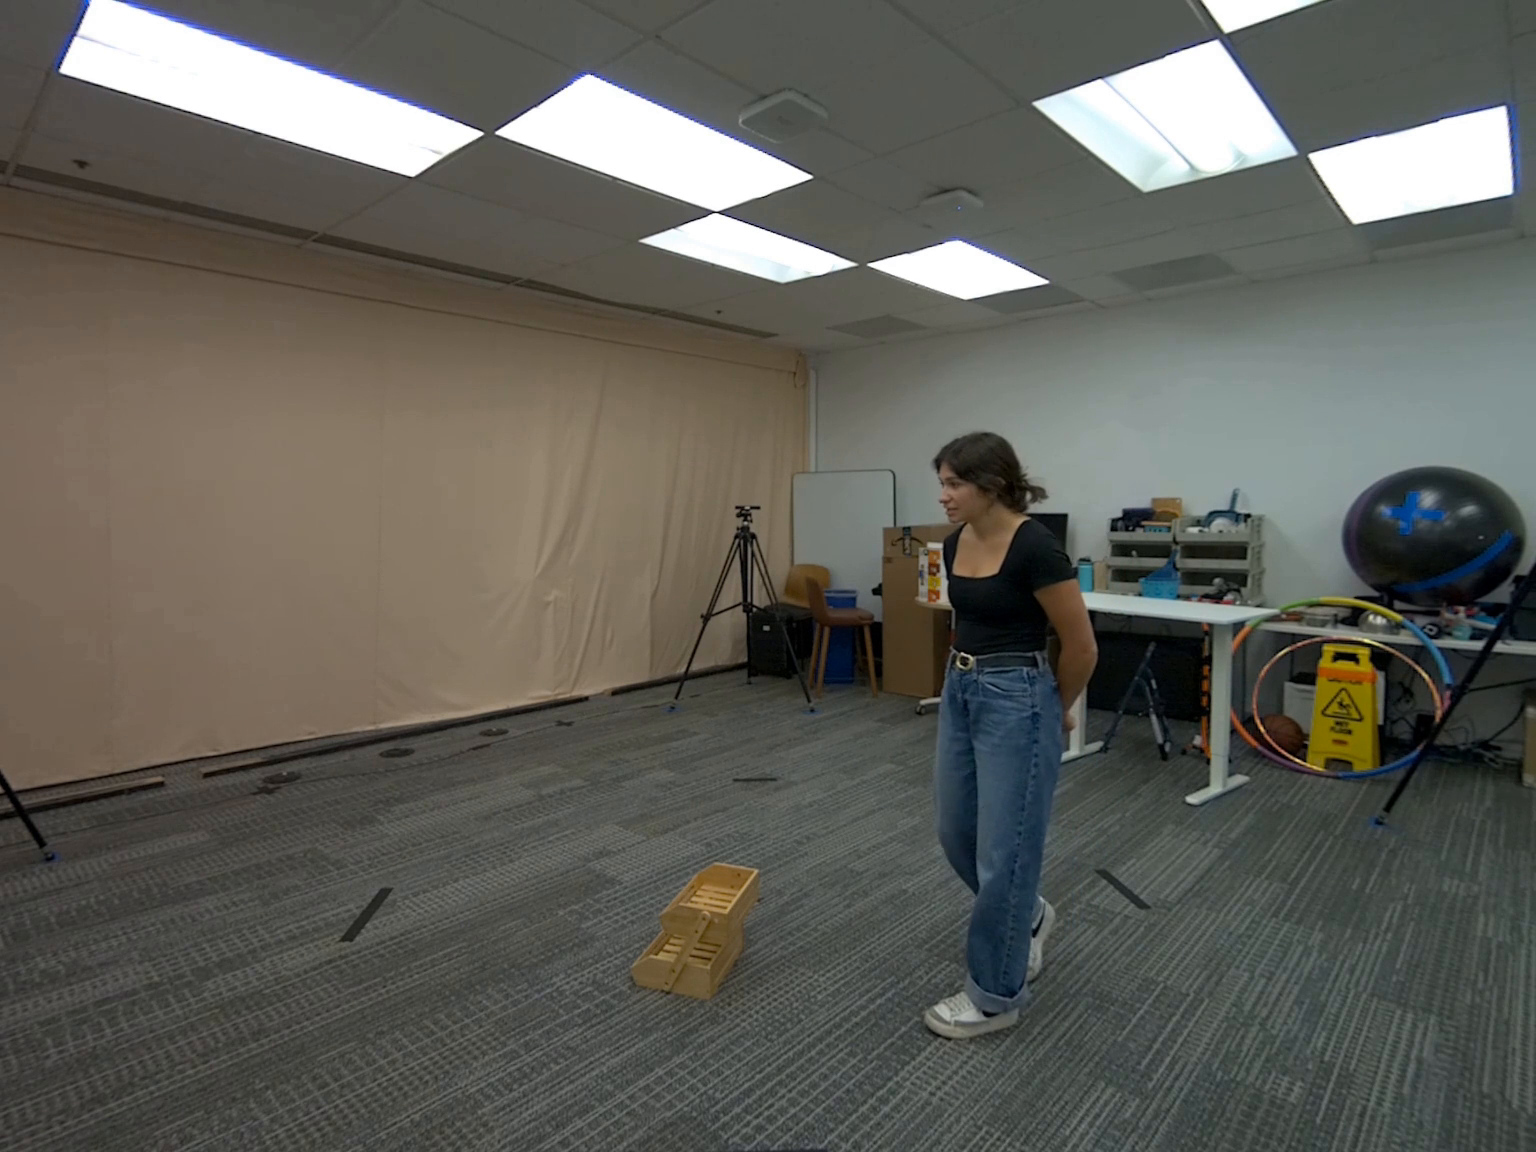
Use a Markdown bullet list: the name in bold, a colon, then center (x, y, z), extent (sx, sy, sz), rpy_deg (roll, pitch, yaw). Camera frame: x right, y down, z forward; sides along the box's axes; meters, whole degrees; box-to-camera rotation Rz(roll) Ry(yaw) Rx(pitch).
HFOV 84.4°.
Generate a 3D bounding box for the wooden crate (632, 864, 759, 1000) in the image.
- **wooden crate**: center (-0.219, 1.051, 2.536), extent (0.308, 0.273, 0.318), rpy_deg (1, 4, 18)
